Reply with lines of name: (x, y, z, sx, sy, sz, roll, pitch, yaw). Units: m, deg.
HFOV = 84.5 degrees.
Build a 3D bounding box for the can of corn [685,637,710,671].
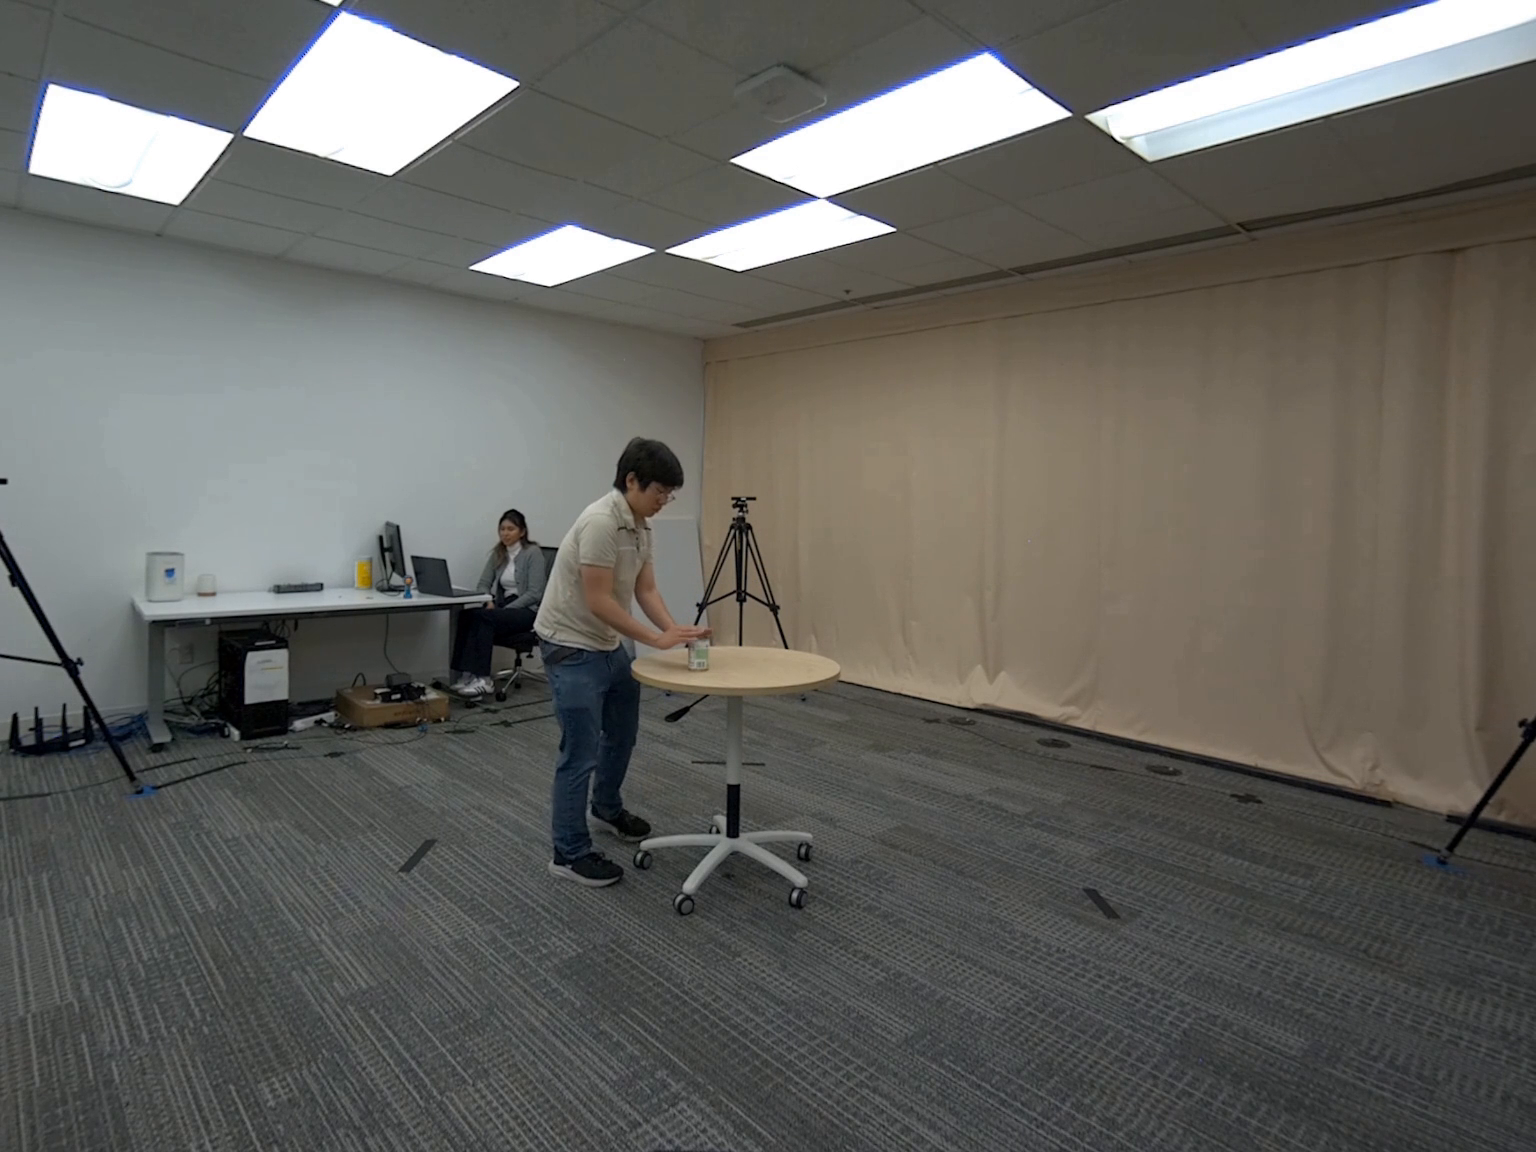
can of corn: (-0.259, 0.280, 2.978, 0.074, 0.110, 0.074, -2, 5, -1)
